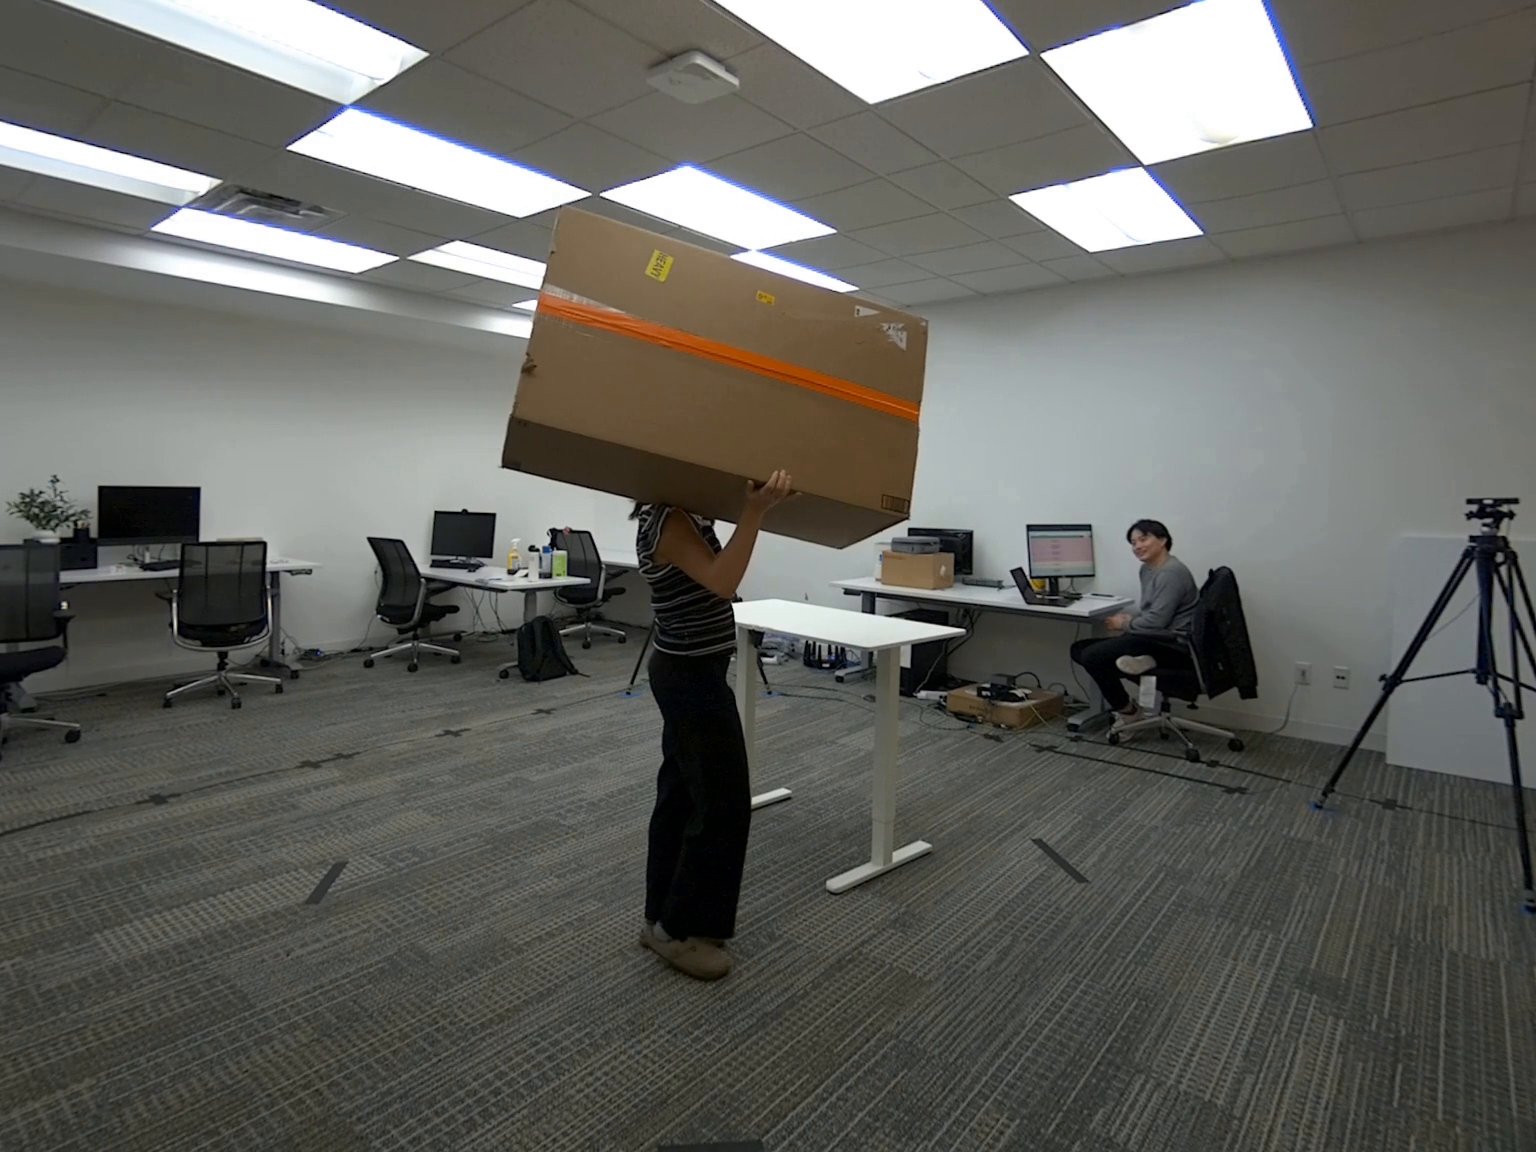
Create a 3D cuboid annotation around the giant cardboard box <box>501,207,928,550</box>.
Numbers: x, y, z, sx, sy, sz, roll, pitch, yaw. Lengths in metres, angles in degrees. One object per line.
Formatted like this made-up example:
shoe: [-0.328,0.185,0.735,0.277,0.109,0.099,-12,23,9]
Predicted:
giant cardboard box: [-0.146,-0.488,2.316,1.008,0.584,0.429,13,-16,-15]
